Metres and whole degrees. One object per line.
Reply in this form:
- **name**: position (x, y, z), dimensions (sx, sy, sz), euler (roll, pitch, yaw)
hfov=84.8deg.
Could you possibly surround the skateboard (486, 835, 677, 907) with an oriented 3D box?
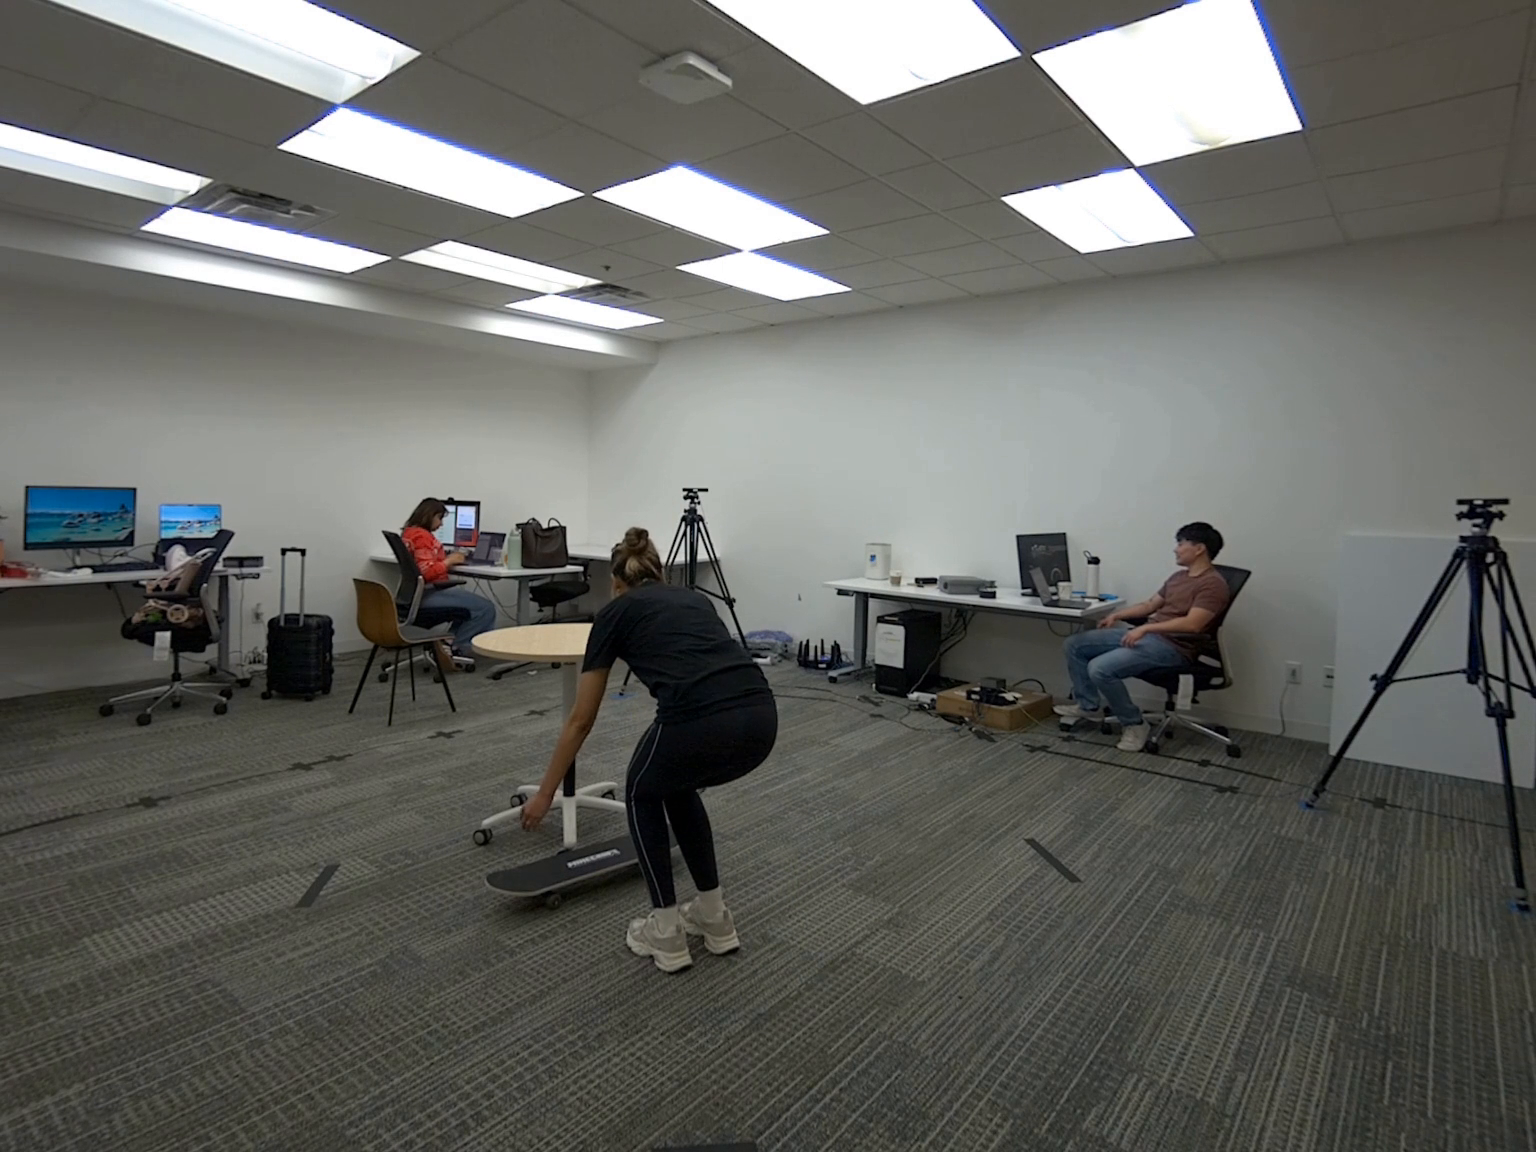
- **skateboard**: position (-0.619, 1.020, 2.985), dimensions (0.762, 0.110, 0.200), euler (-4, 8, -41)
